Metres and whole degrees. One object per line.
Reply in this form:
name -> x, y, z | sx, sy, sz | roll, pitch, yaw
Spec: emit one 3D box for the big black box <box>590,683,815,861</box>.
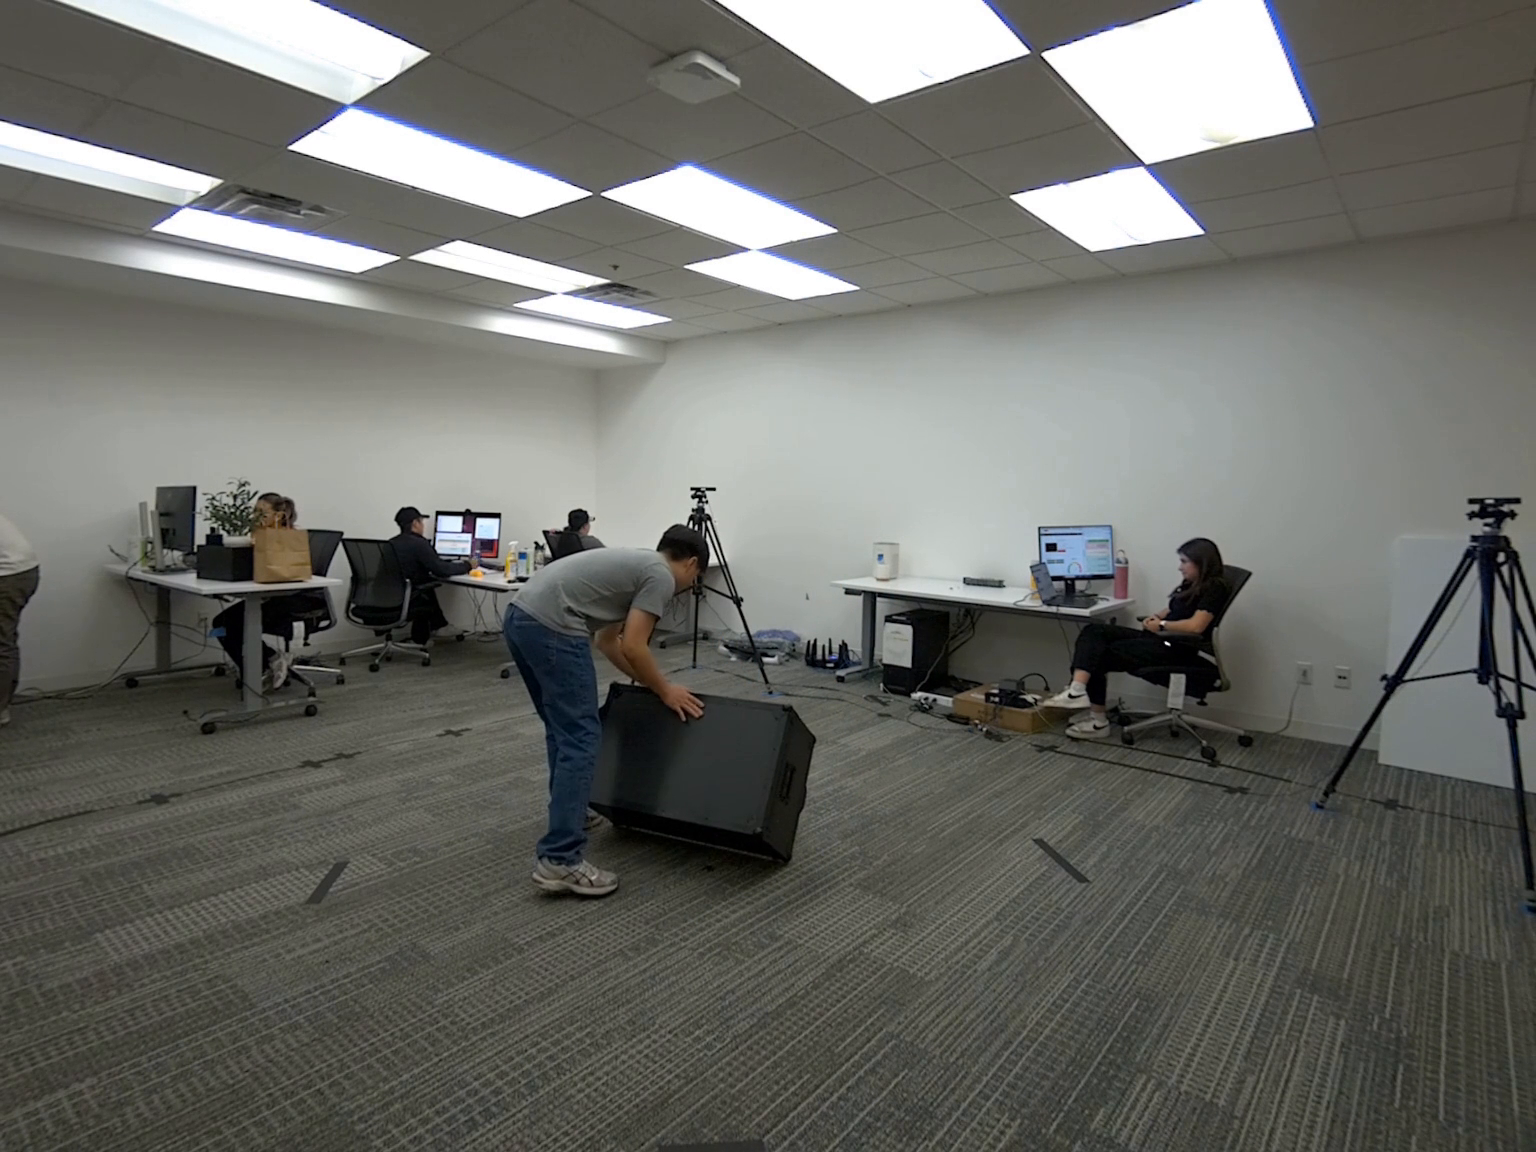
big black box -> -0.312, 0.747, 3.333 | 0.883, 0.529, 0.380 | 2, -30, 25
